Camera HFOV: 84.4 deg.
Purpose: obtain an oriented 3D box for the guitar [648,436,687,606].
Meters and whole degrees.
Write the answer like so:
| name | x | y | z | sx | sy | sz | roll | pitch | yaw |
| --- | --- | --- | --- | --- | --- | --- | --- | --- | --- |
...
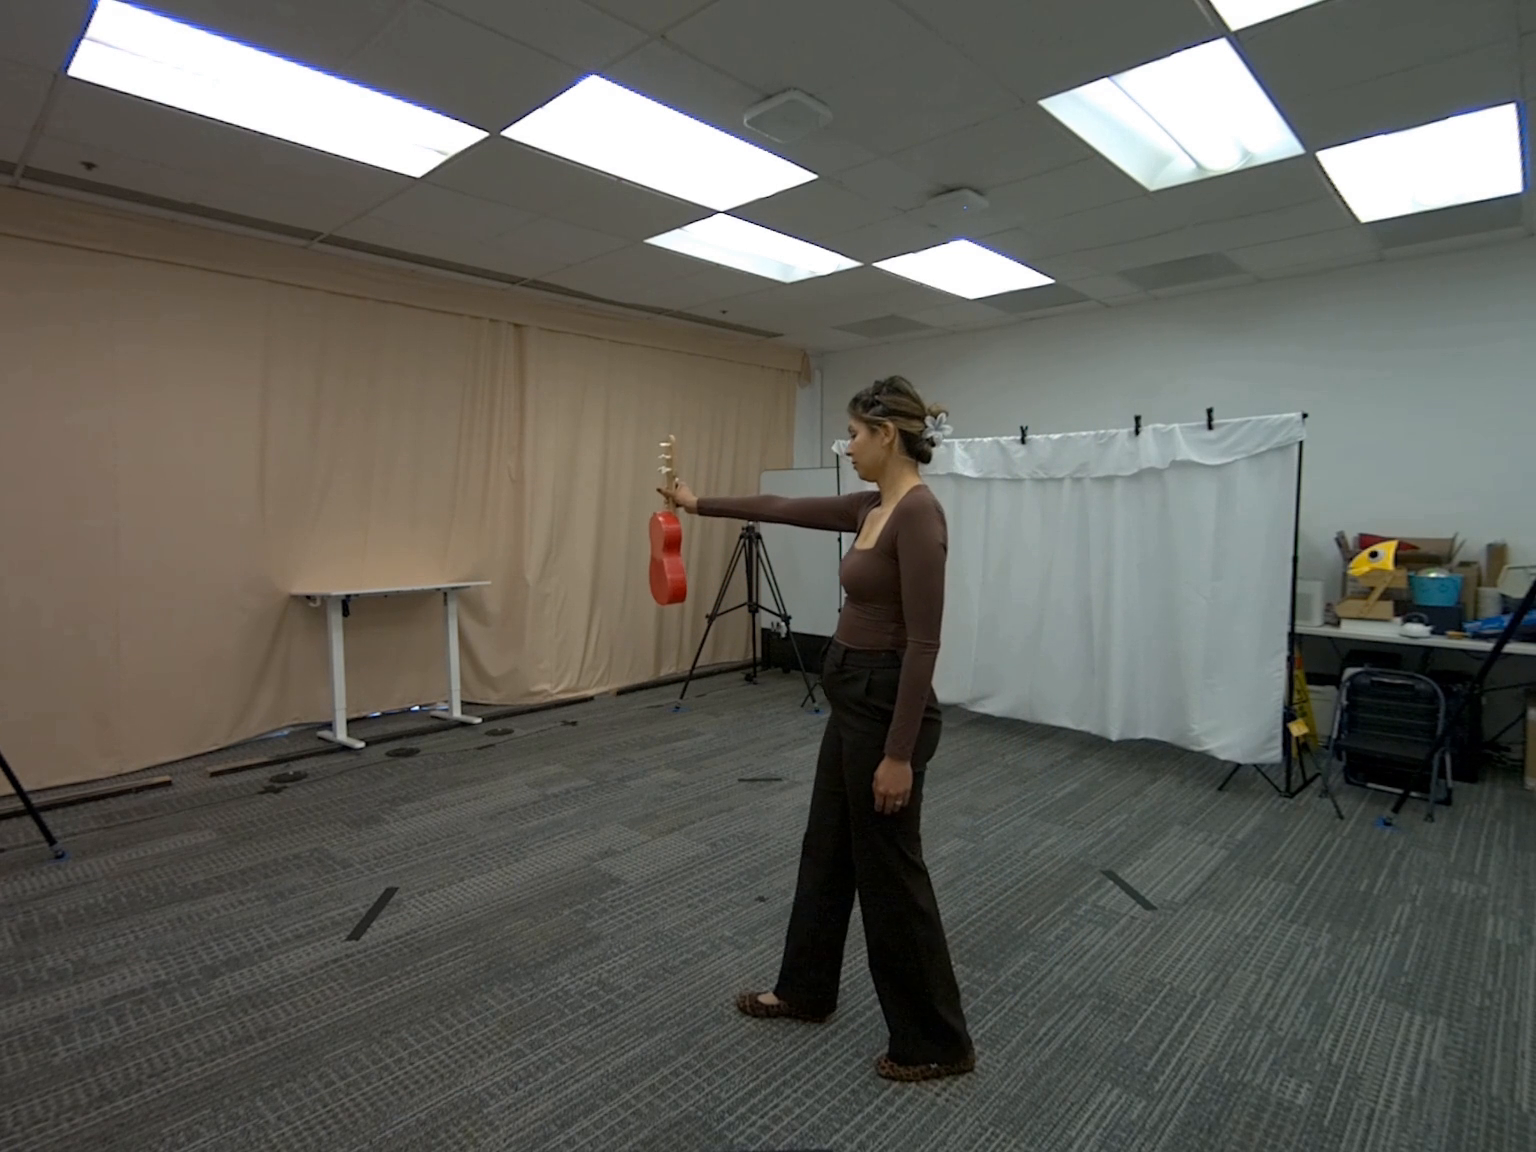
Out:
| name | x | y | z | sx | sy | sz | roll | pitch | yaw |
| --- | --- | --- | --- | --- | --- | --- | --- | --- | --- |
| guitar | -0.309 | -0.165 | 2.542 | 0.069 | 0.498 | 0.196 | -3 | -2 | -20 |
